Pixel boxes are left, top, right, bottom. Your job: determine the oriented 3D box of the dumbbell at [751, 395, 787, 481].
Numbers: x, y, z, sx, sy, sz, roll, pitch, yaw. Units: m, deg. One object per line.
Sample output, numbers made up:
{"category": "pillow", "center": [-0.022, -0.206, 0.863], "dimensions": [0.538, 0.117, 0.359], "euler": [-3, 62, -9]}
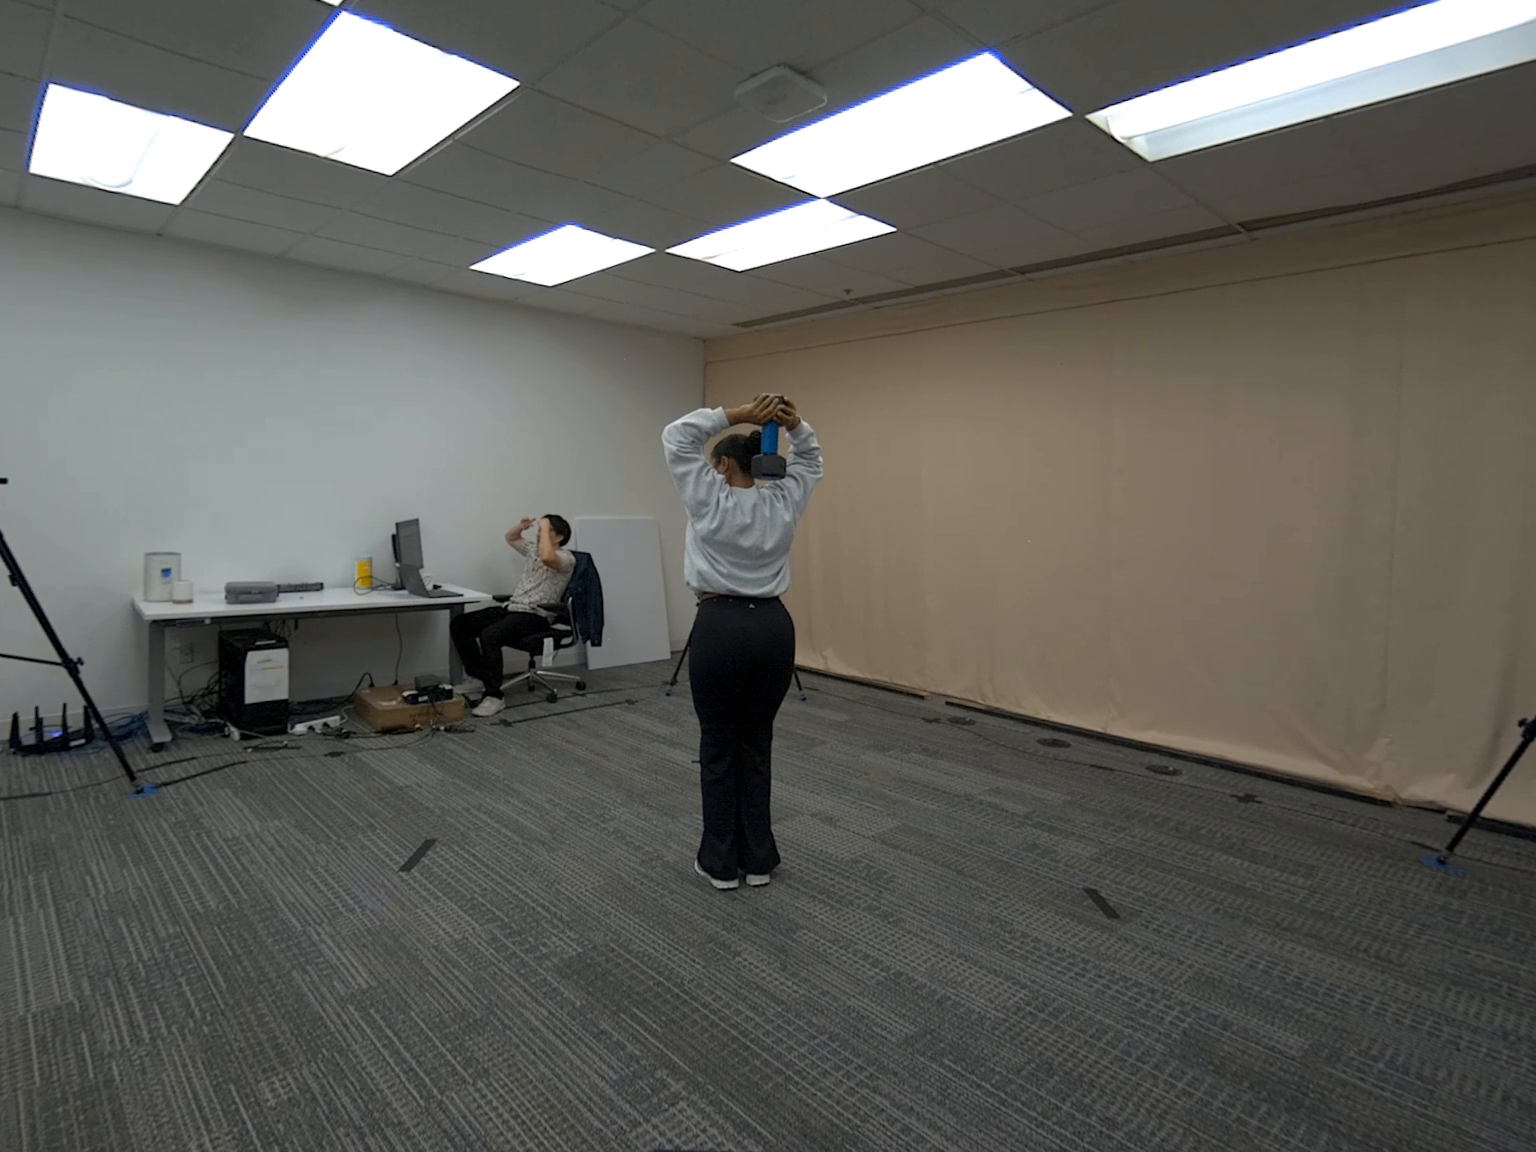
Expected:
{"category": "dumbbell", "center": [-0.007, -0.493, 2.937], "dimensions": [0.110, 0.294, 0.121], "euler": [2, -1, 21]}
